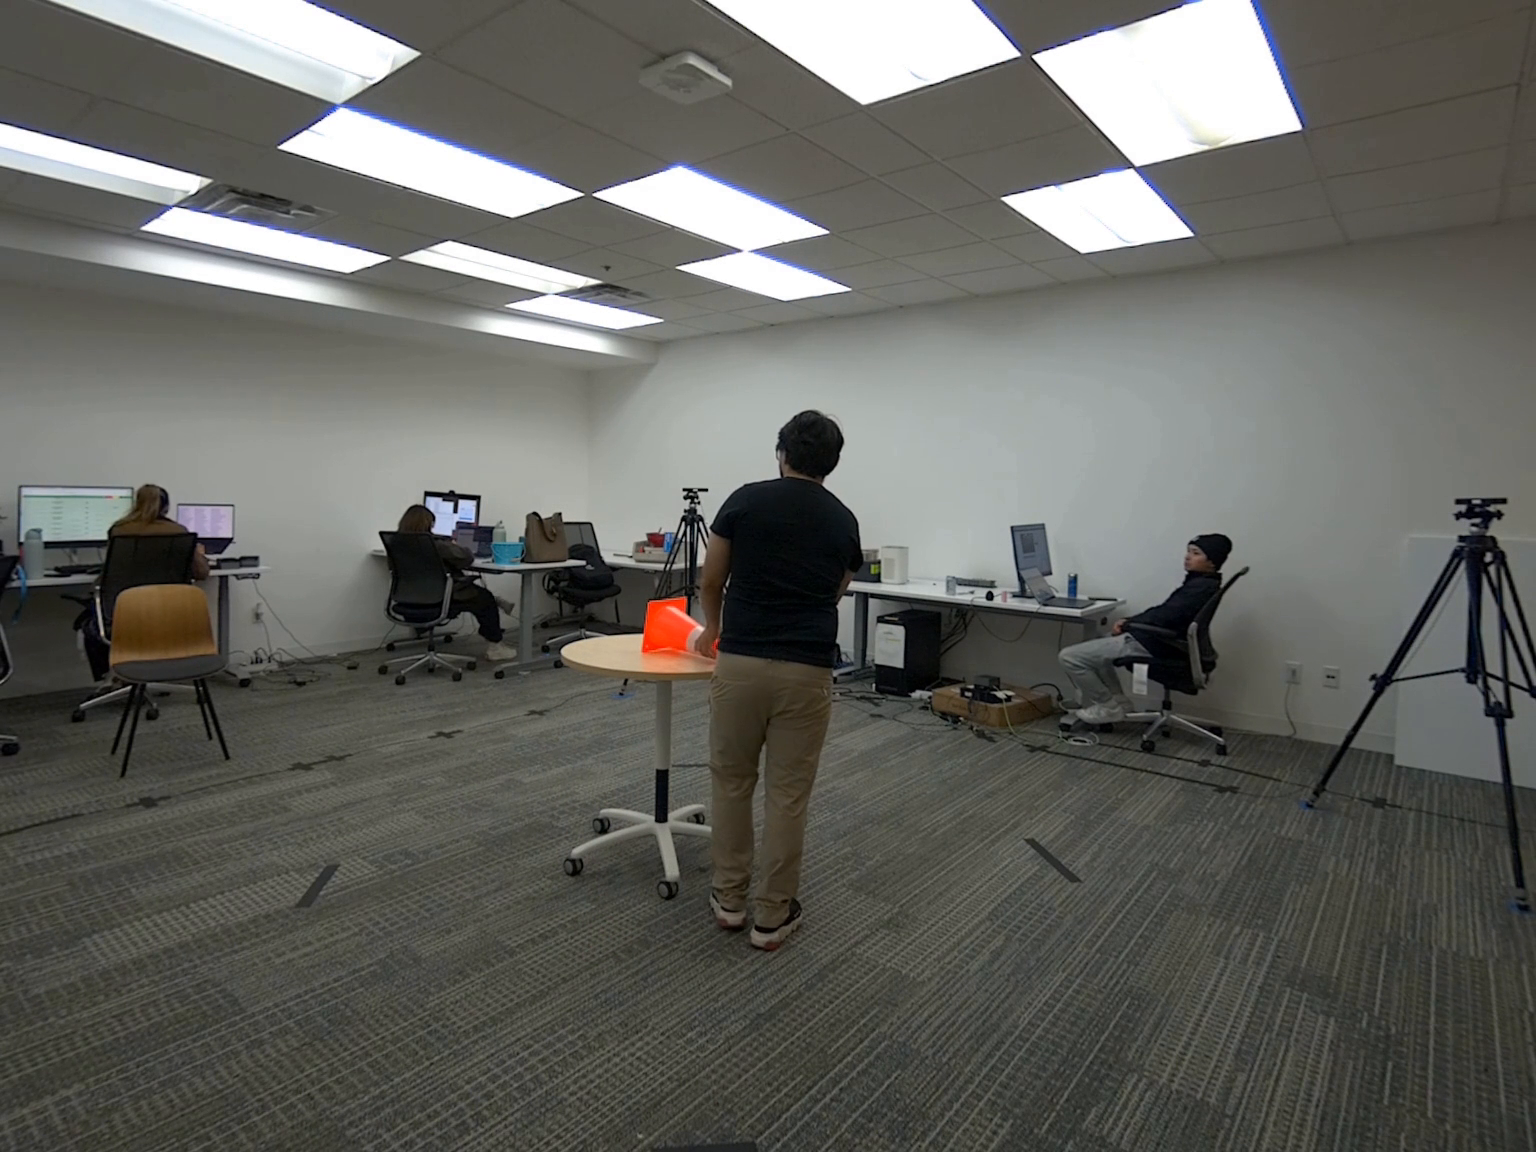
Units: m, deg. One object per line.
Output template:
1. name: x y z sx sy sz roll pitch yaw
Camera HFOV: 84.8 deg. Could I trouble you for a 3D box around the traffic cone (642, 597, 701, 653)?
1. traffic cone: -0.254 0.237 3.046 0.399 0.201 0.199 21 18 37
